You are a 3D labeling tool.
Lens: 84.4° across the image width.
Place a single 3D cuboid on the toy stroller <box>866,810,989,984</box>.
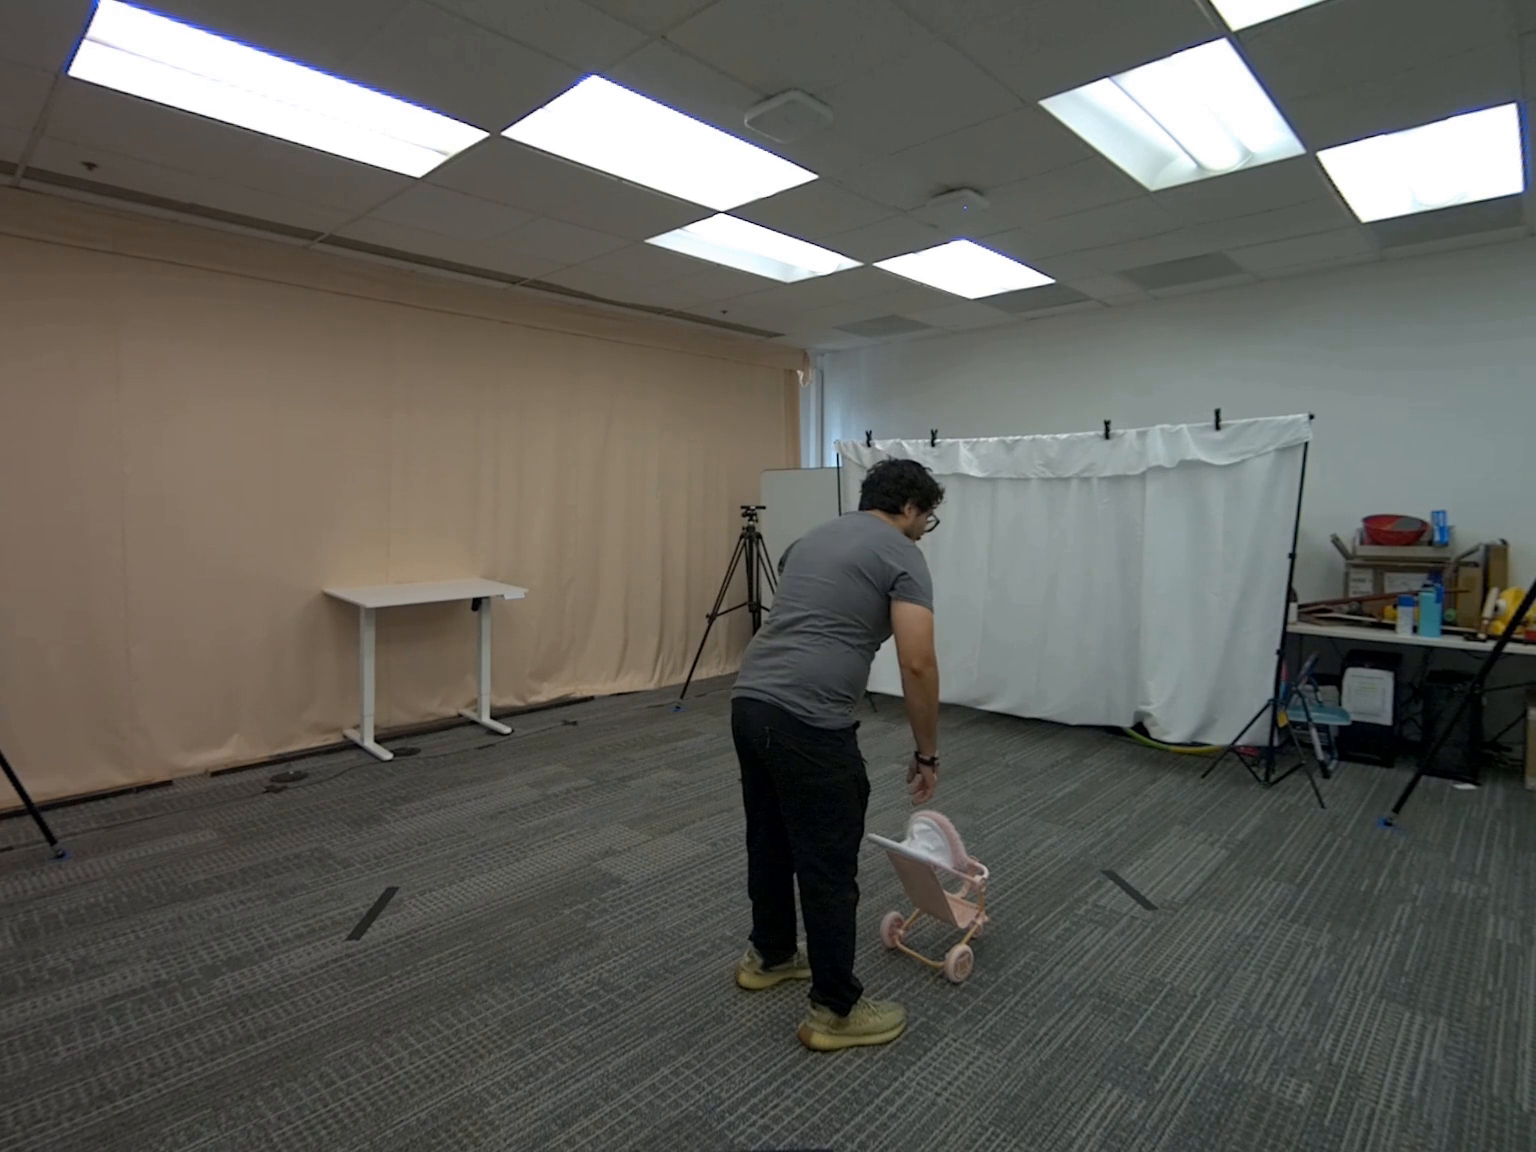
[{"bbox_3d":[0.526,0.955,2.581,0.334,0.529,0.290,-23,16,-33],"label":"toy stroller"}]
